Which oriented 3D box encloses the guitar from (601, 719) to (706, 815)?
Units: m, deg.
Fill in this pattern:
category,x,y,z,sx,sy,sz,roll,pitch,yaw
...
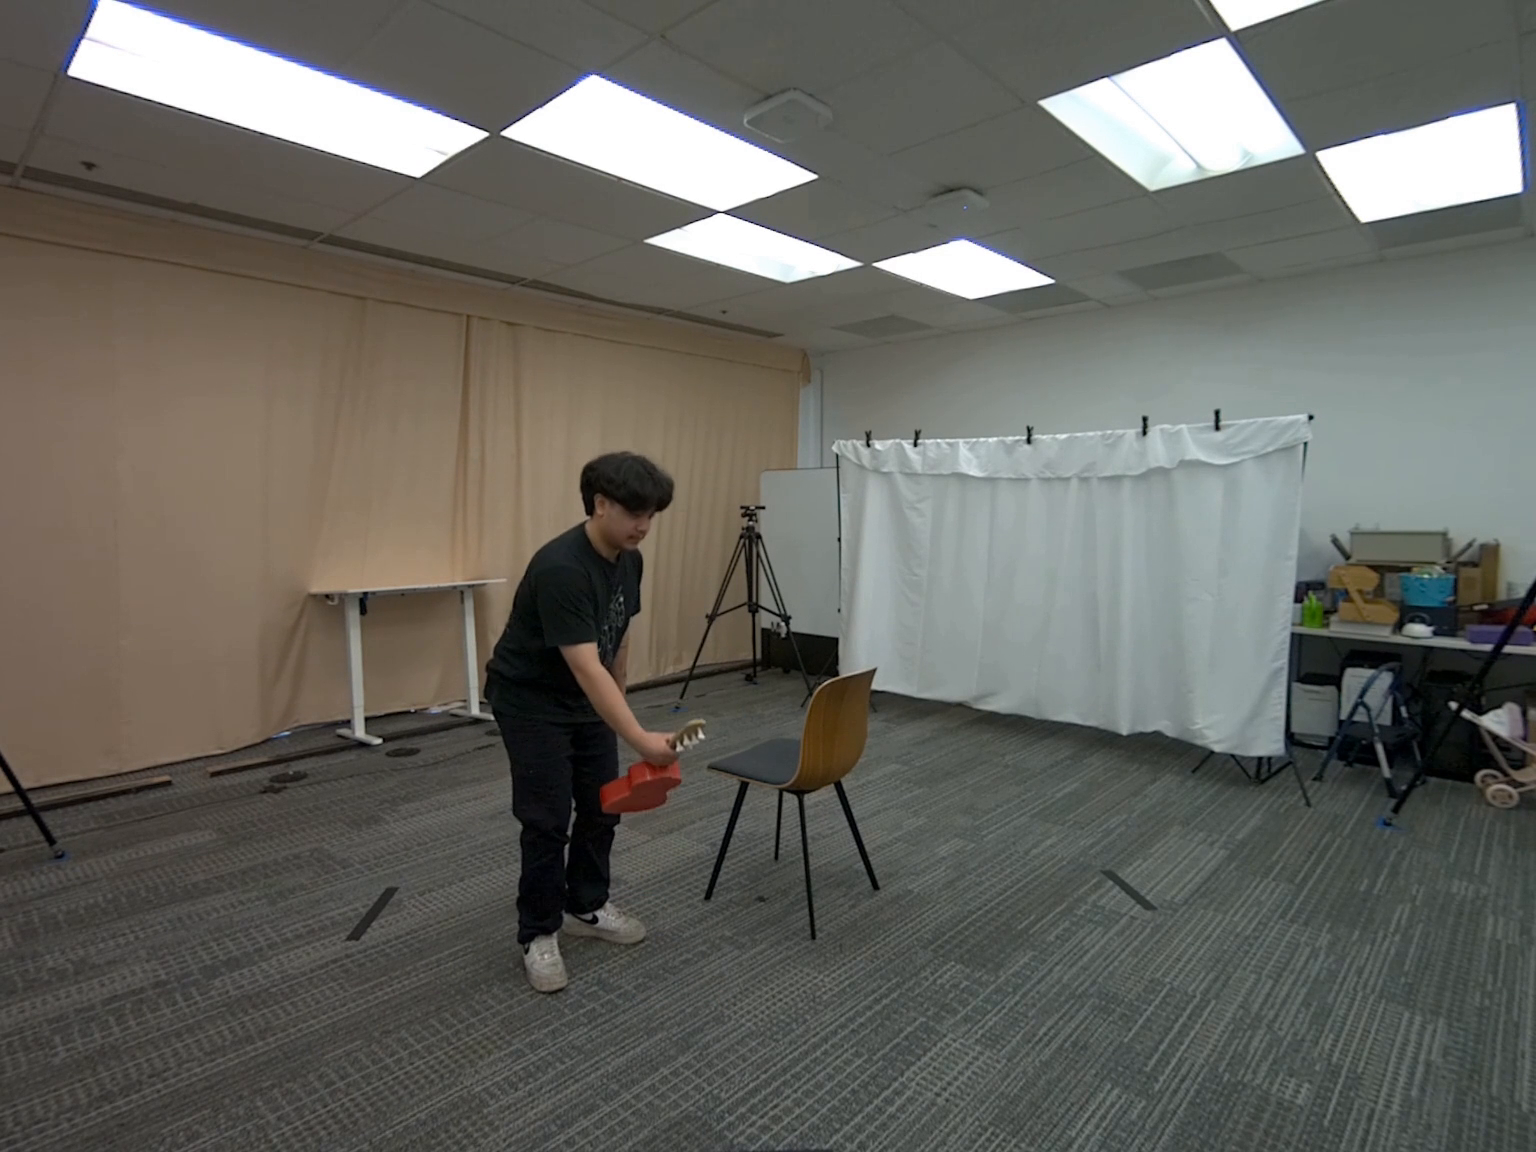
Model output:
category,x,y,z,sx,sy,sz,roll,pitch,yaw
guitar,-0.334,0.545,2.291,0.188,0.072,0.497,-1,-33,-24
